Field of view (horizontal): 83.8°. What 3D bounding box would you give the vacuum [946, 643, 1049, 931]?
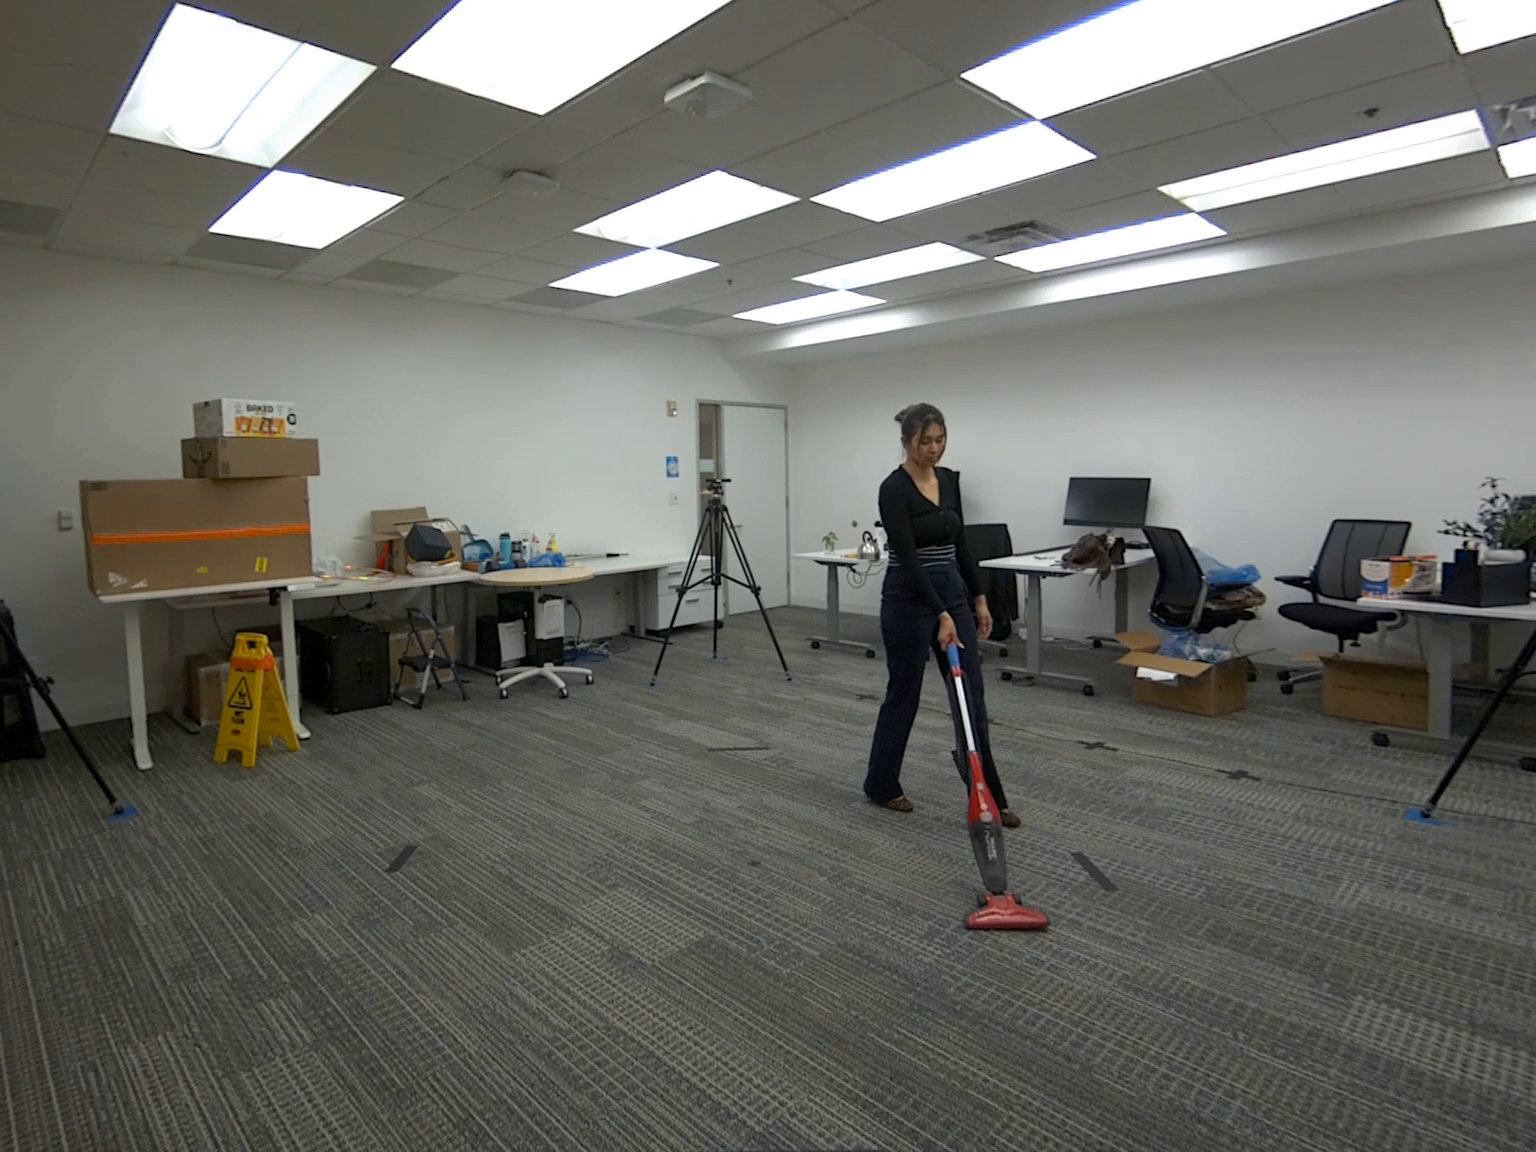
[{"bbox_3d":[0.722,0.644,3.011,0.253,1.078,0.140,-5,-38,2],"label":"vacuum"}]
